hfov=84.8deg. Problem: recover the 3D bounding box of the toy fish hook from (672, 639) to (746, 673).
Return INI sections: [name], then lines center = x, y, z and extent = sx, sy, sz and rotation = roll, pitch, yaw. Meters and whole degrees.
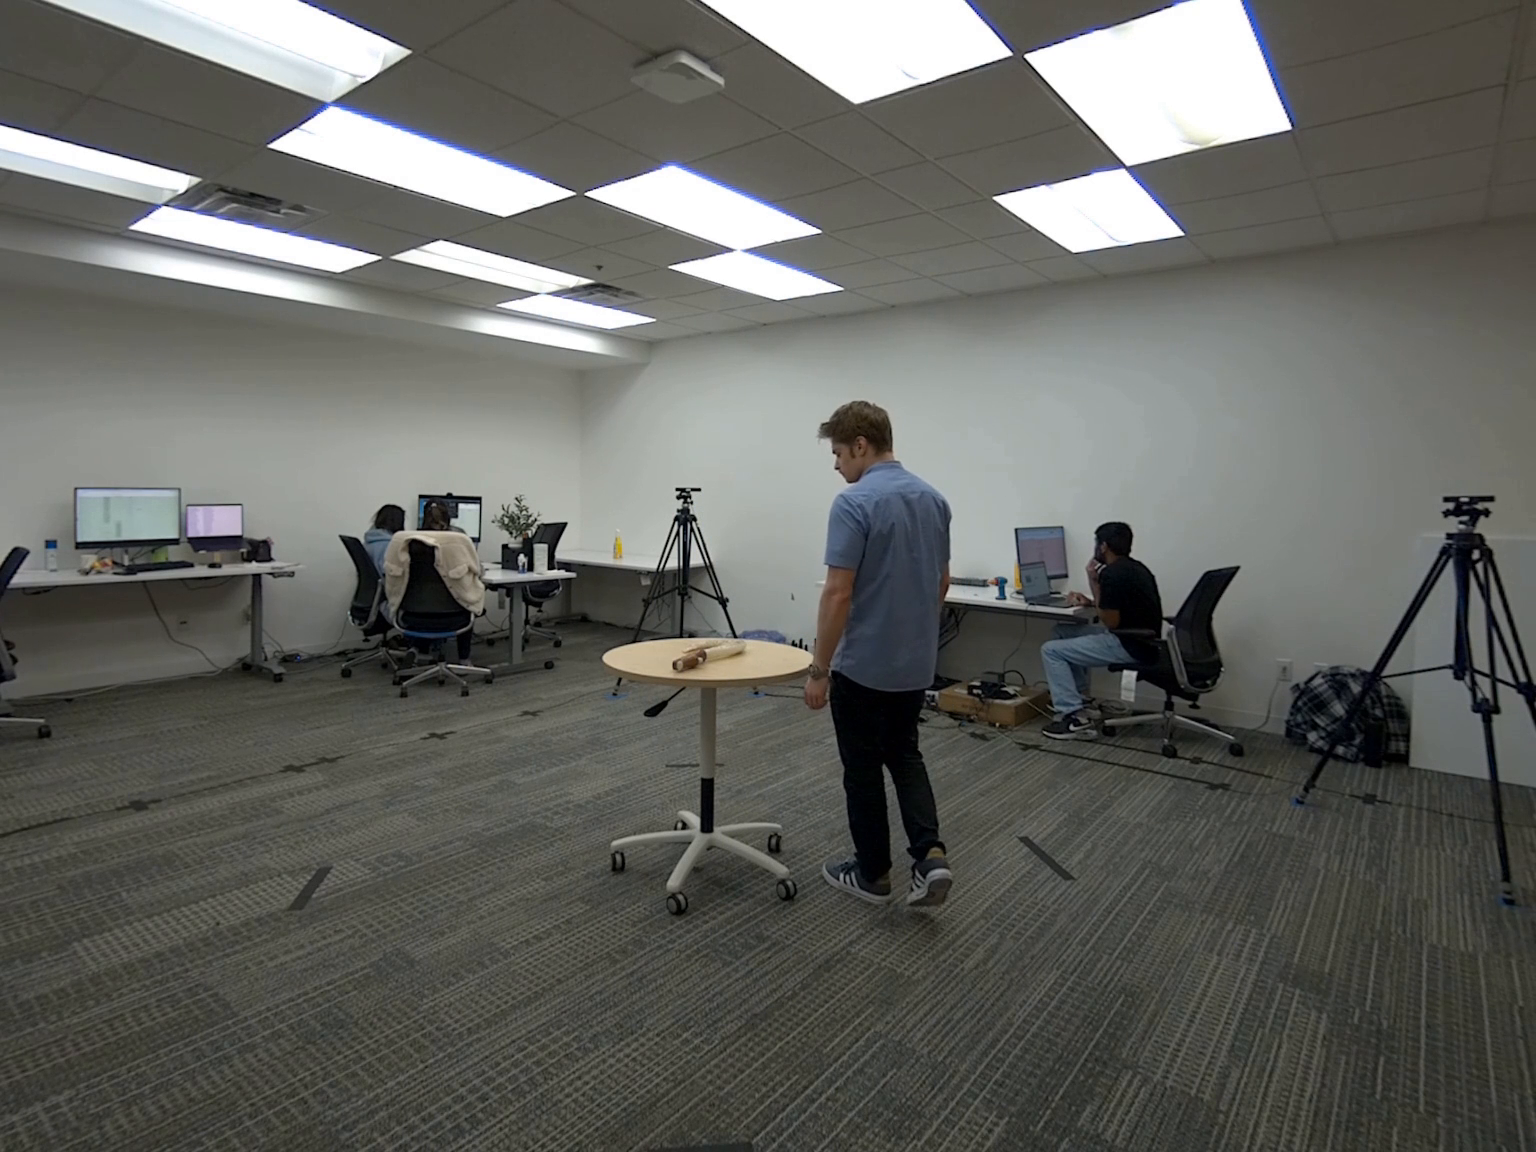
[toy fish hook]
center = -0.257, 0.281, 3.034
extent = 0.229, 0.048, 0.495
rotation = -6, 2, 24
